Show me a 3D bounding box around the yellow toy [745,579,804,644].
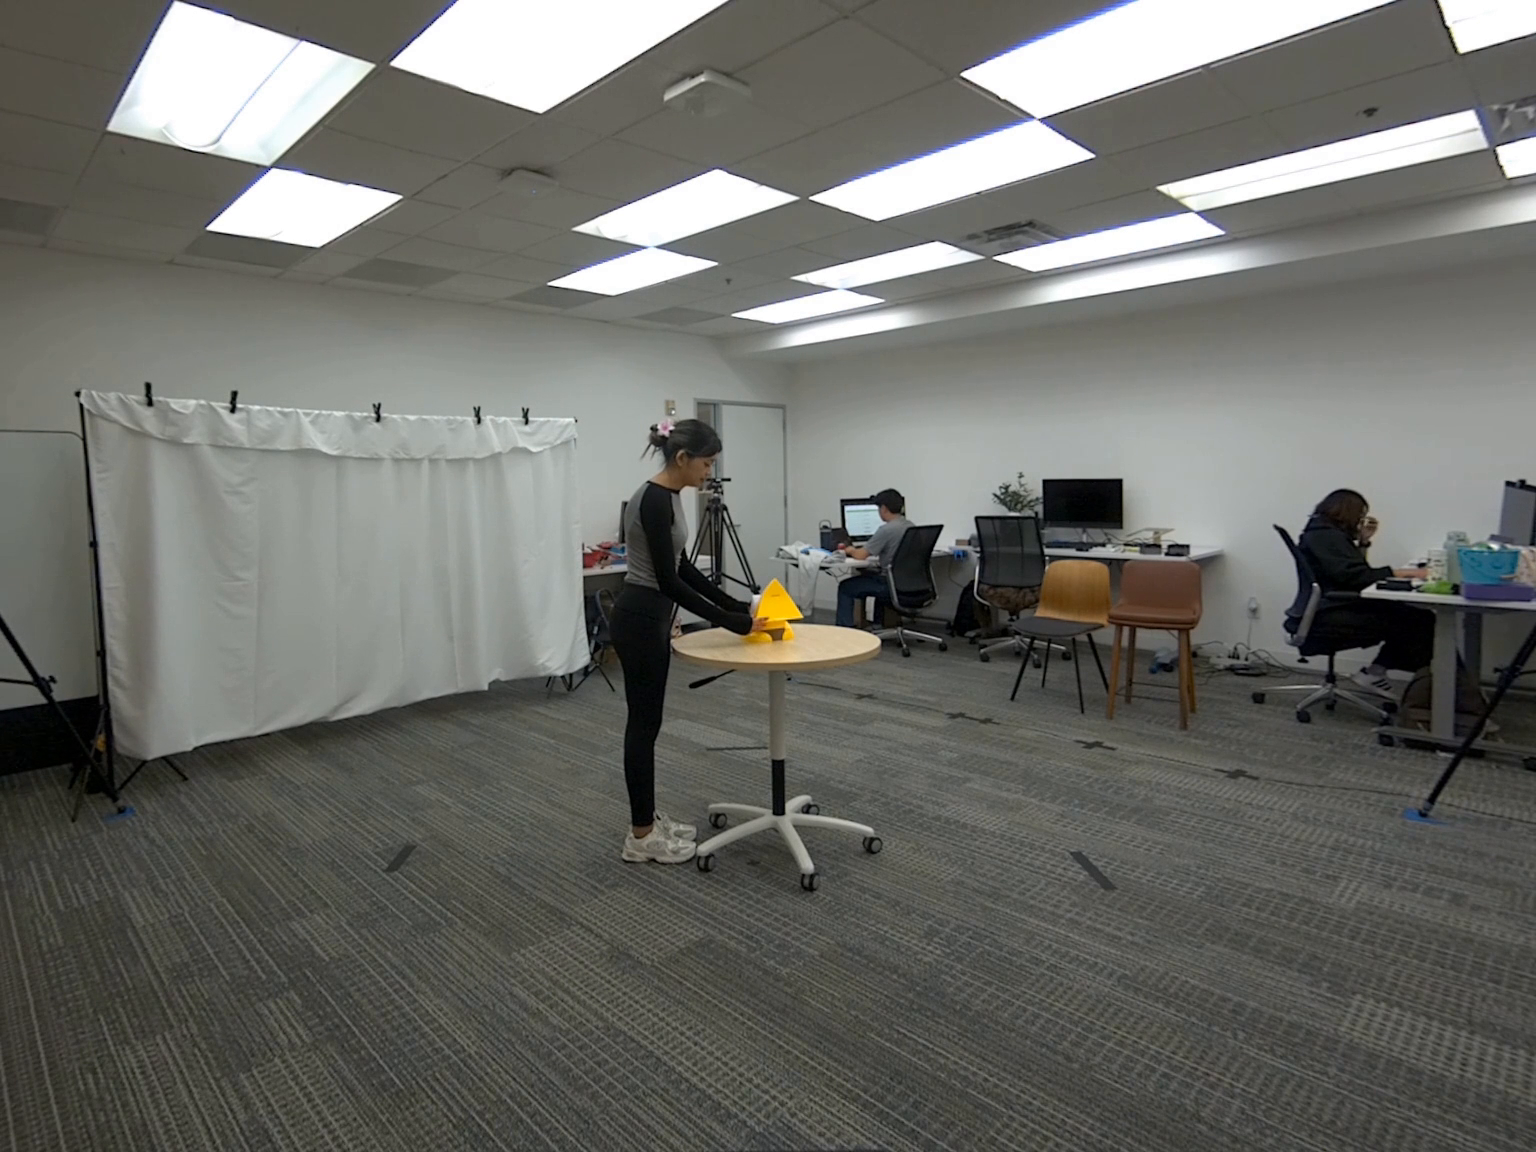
[{"bbox_3d":[-0.003,0.121,3.222,0.200,0.230,0.198,-3,3,-29],"label":"yellow toy"}]
